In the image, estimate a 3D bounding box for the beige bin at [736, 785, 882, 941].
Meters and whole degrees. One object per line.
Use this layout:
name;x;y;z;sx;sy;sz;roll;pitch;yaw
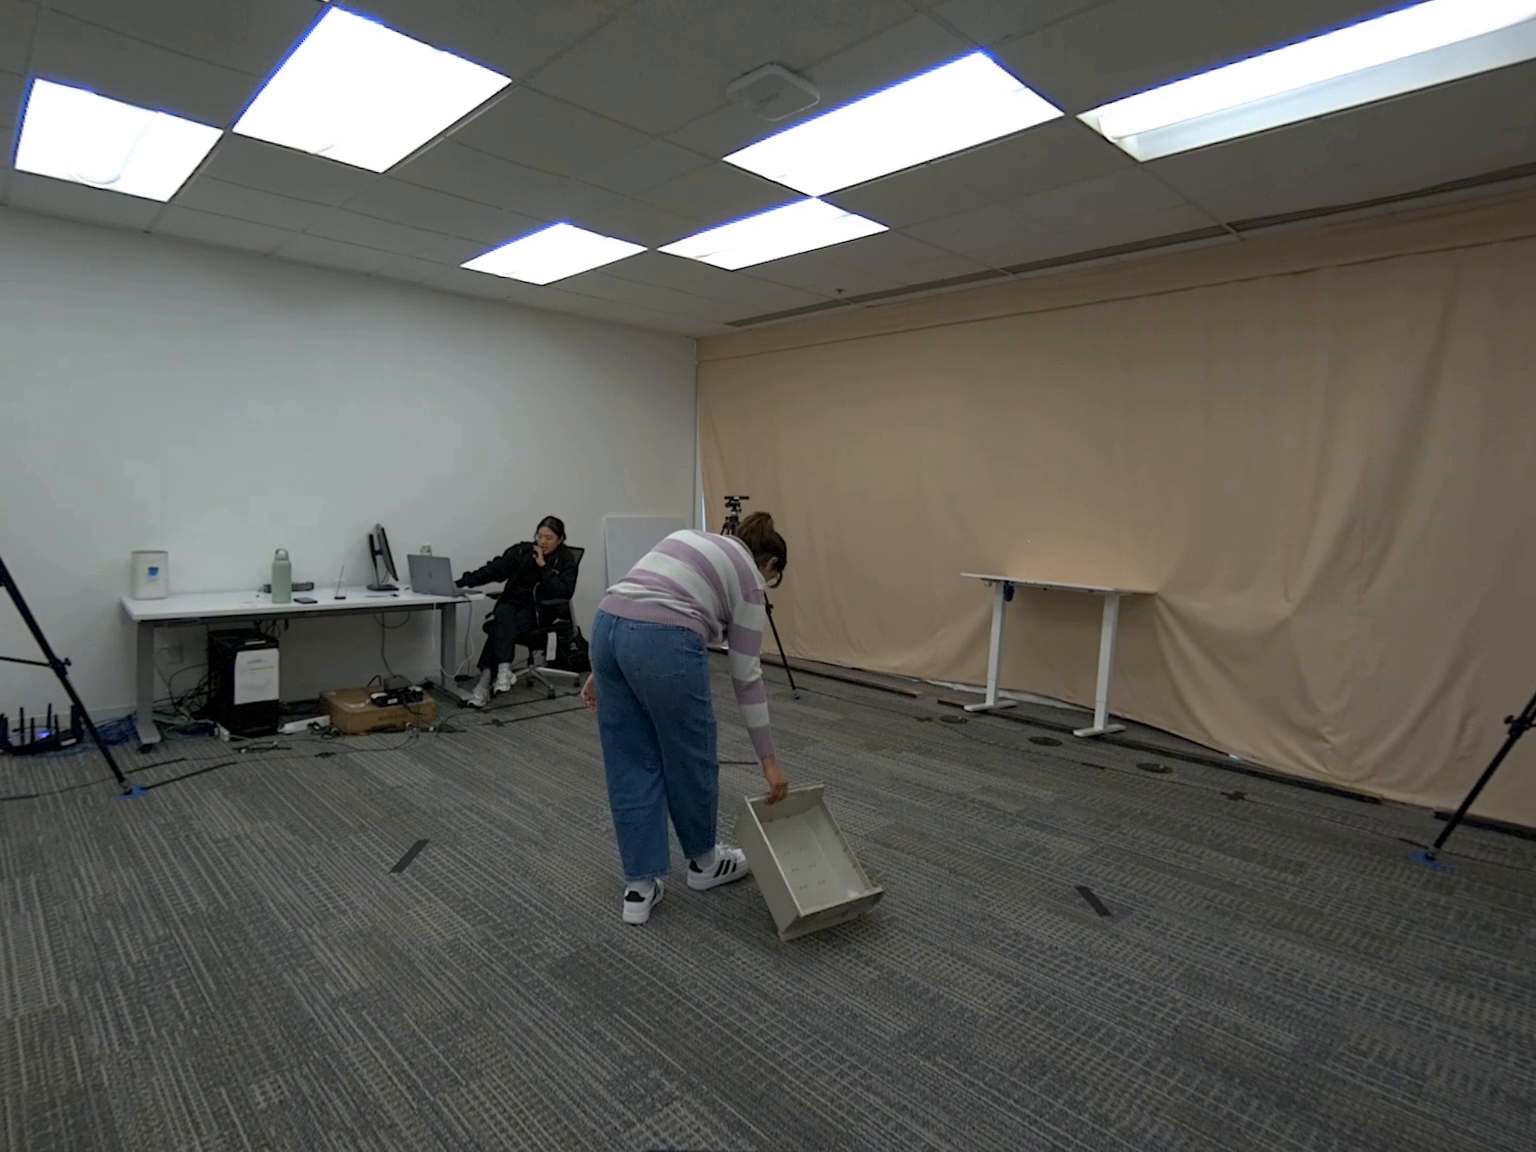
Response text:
beige bin;0.128;0.941;2.816;0.369;0.187;0.435;-3;43;-33
